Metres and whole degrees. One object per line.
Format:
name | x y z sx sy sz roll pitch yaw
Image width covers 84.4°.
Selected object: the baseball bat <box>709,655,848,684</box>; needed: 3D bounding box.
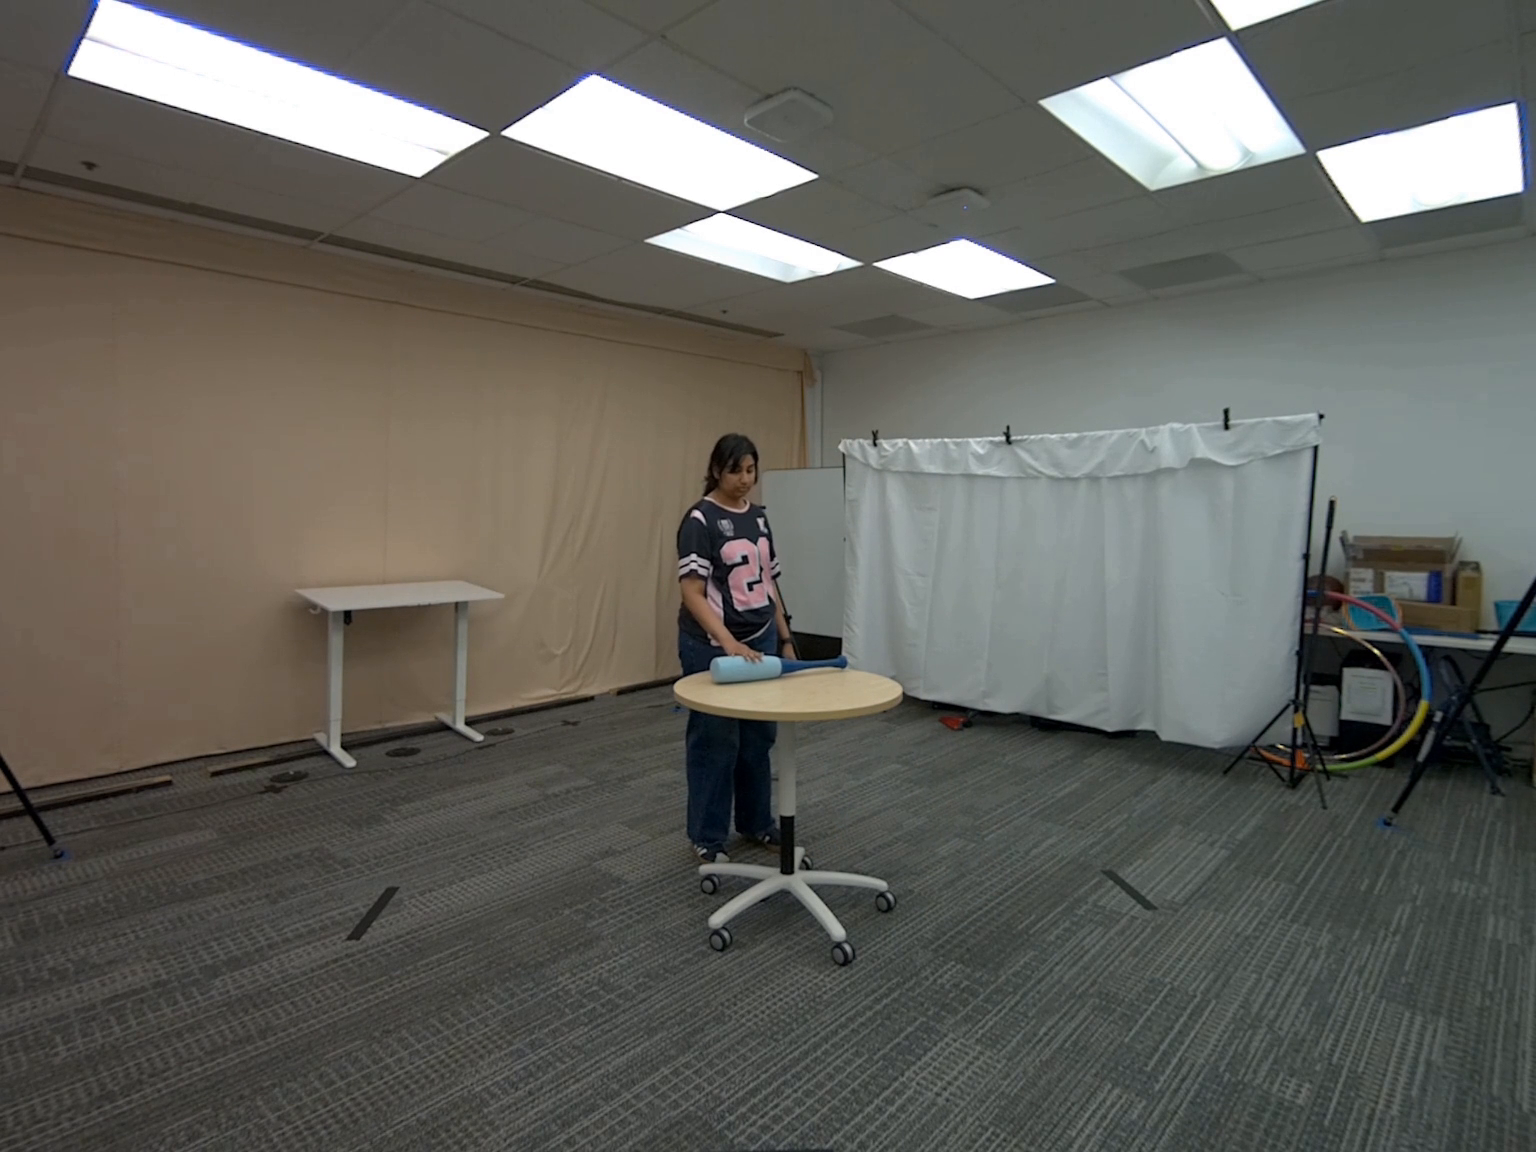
baseball bat | 0.050 0.326 2.996 0.530 0.089 0.091 0 3 -25
